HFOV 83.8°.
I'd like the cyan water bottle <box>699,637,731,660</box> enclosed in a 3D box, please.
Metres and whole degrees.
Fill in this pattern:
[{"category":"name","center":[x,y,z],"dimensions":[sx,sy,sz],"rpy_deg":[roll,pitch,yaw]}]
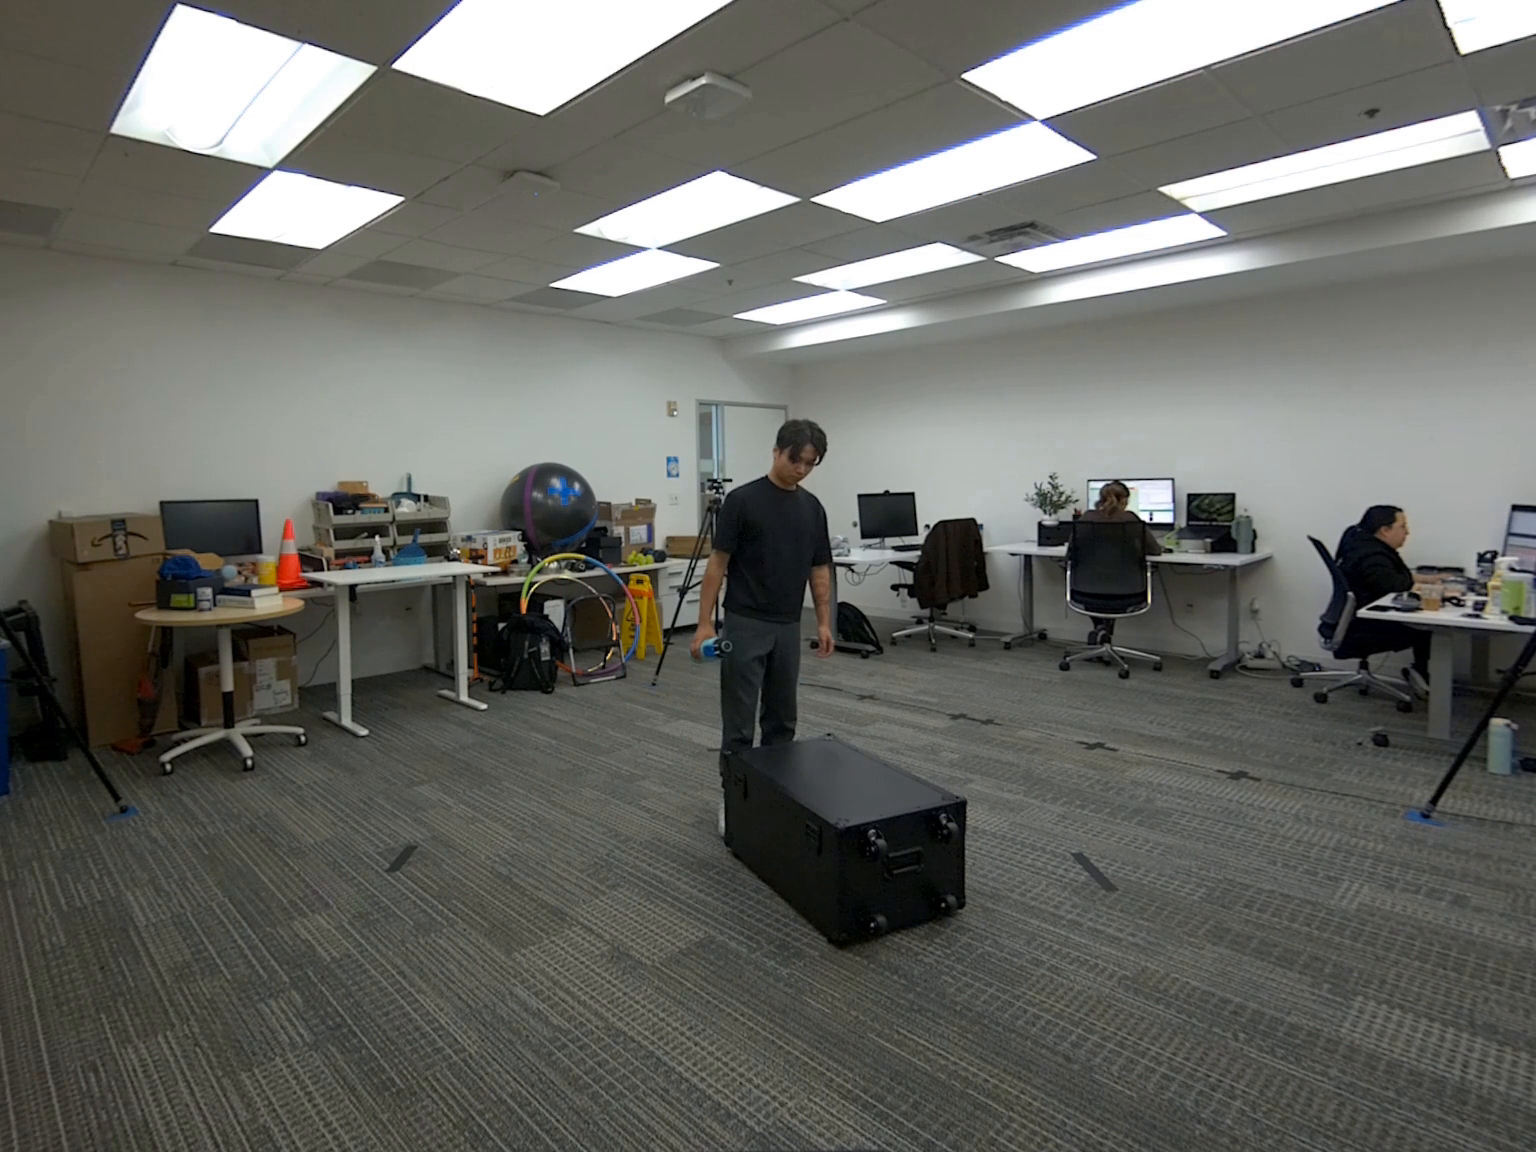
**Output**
[{"category":"cyan water bottle","center":[-0.223,0.301,3.424],"dimensions":[0.090,0.093,0.286],"rpy_deg":[-3,-8,-25]}]
